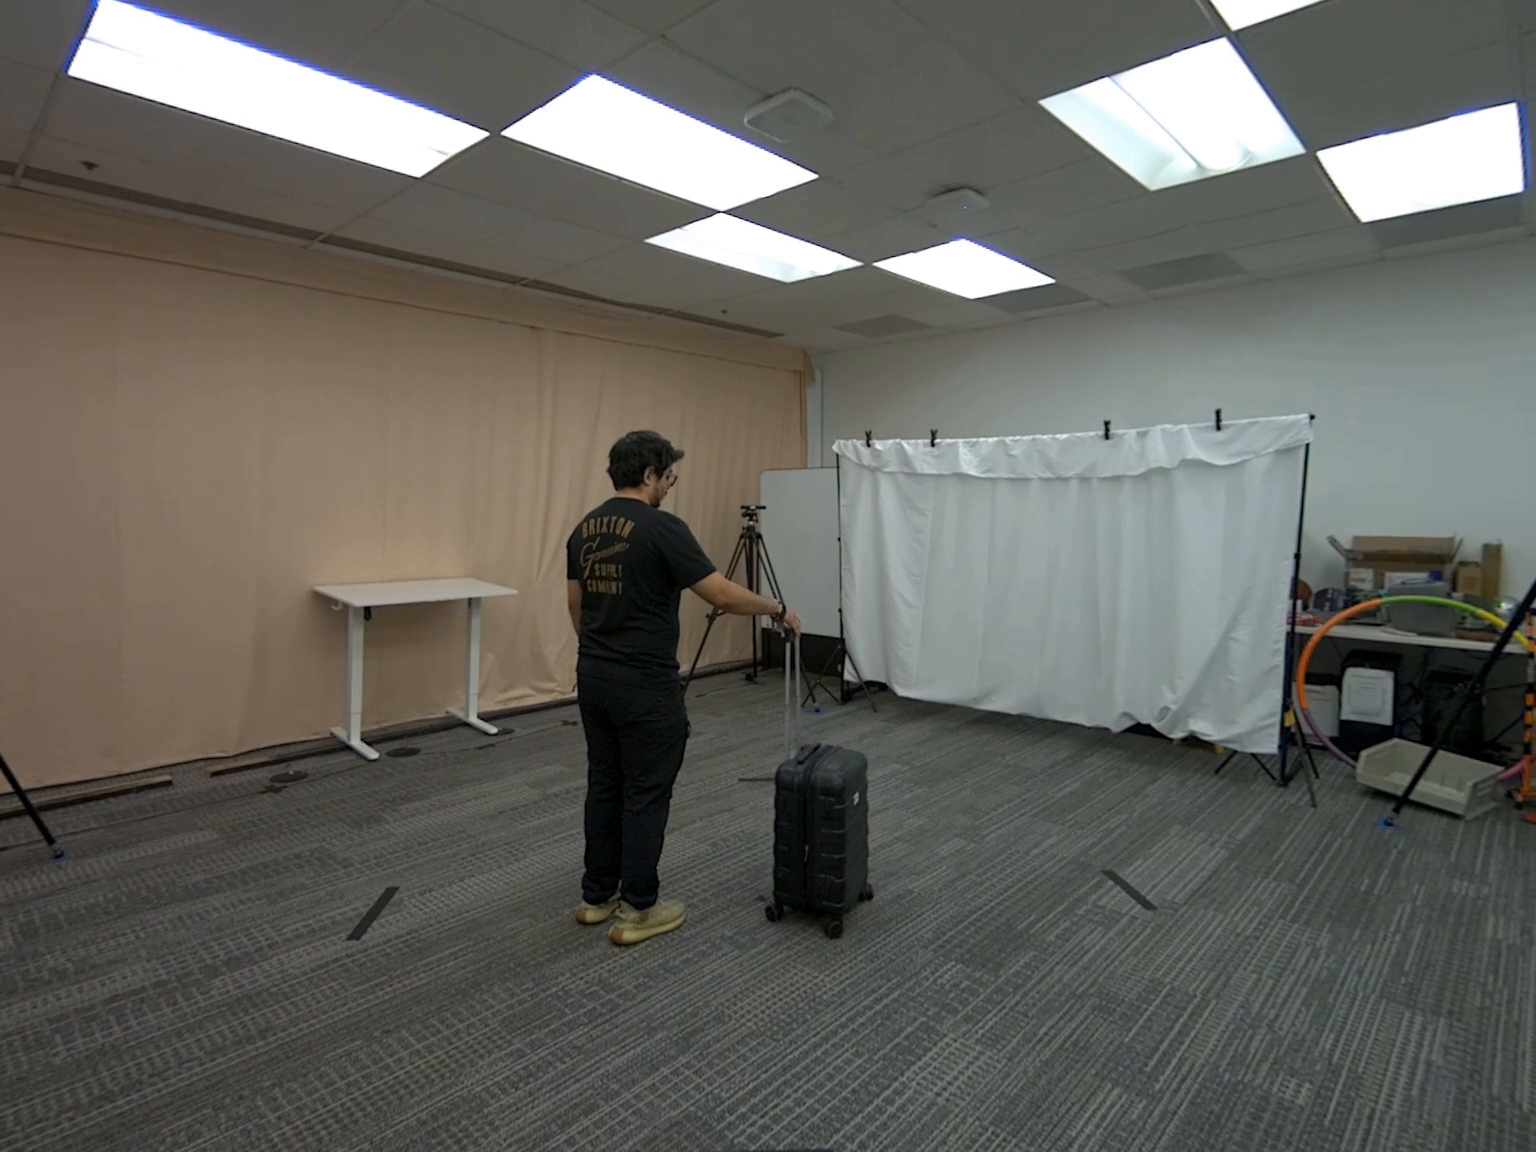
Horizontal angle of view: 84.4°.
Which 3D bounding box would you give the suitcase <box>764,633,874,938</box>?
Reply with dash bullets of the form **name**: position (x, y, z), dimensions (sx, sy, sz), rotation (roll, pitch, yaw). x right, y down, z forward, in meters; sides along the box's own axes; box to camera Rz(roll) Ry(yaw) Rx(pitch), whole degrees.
- **suitcase**: position (0.195, 0.680, 2.879), dimensions (0.263, 0.976, 0.376), rotation (3, 4, 22)
